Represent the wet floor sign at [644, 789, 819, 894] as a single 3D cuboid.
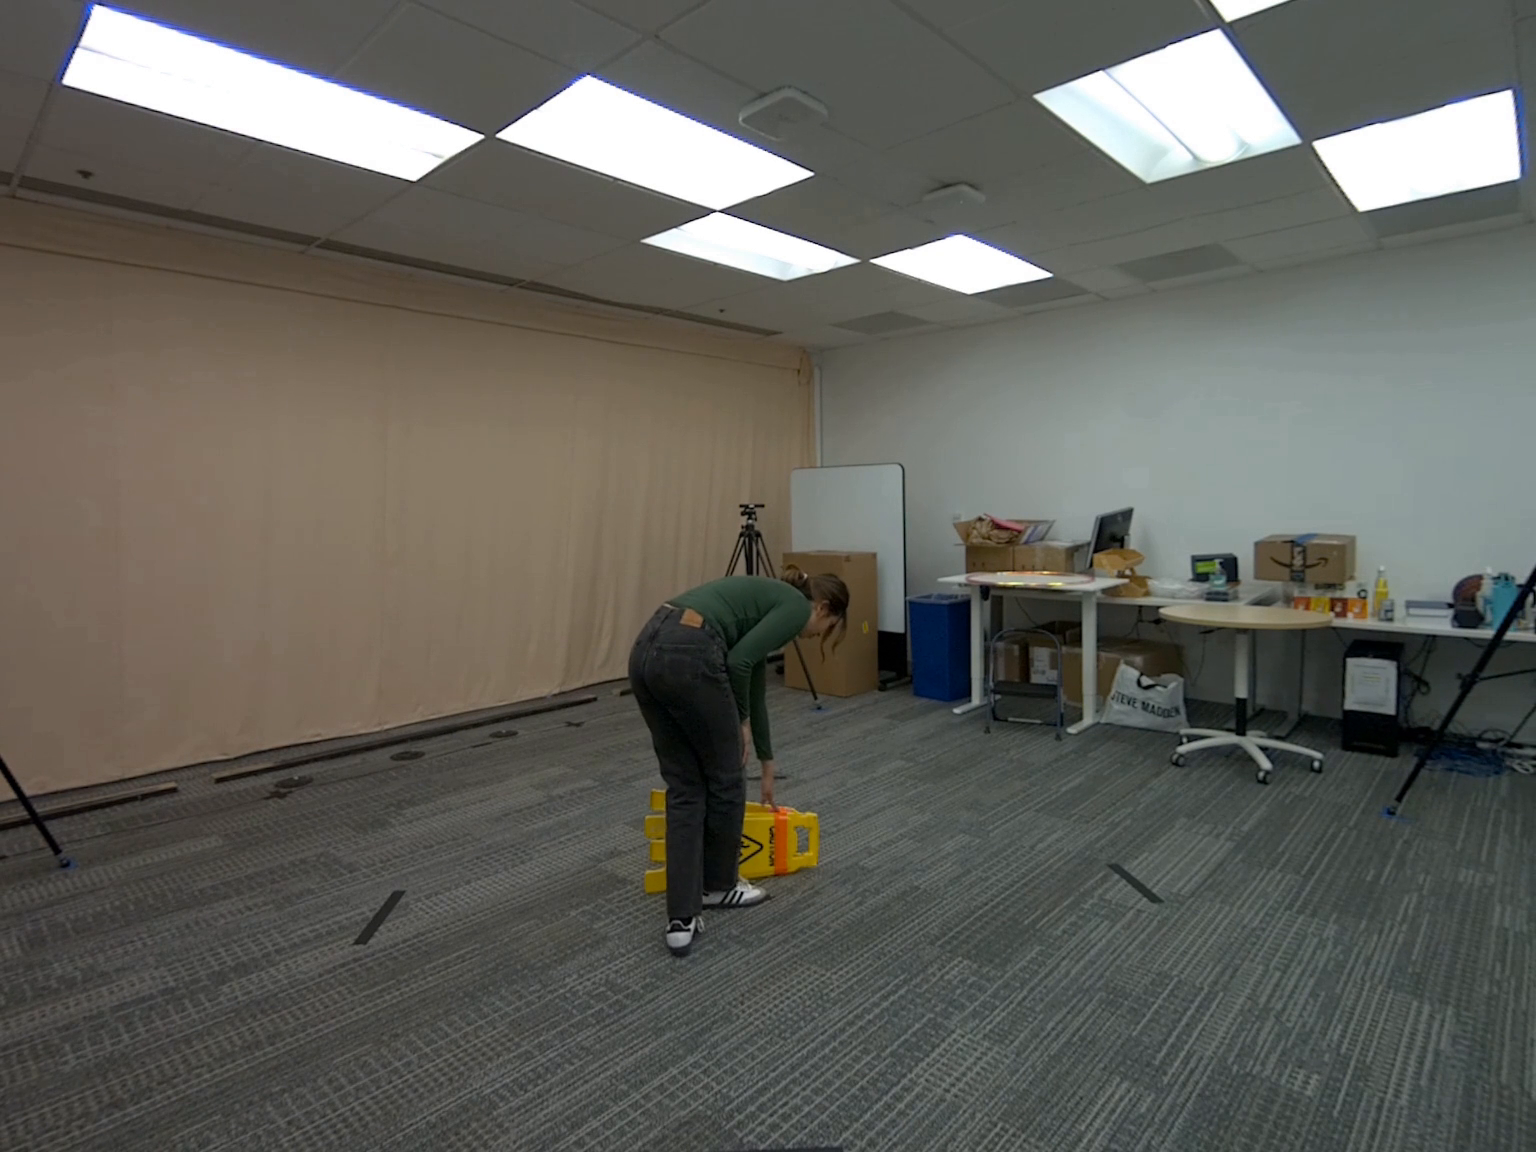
[{"bbox_3d":[-0.126,0.990,3.182,0.645,0.282,0.291,1,3,-2],"label":"wet floor sign"}]
